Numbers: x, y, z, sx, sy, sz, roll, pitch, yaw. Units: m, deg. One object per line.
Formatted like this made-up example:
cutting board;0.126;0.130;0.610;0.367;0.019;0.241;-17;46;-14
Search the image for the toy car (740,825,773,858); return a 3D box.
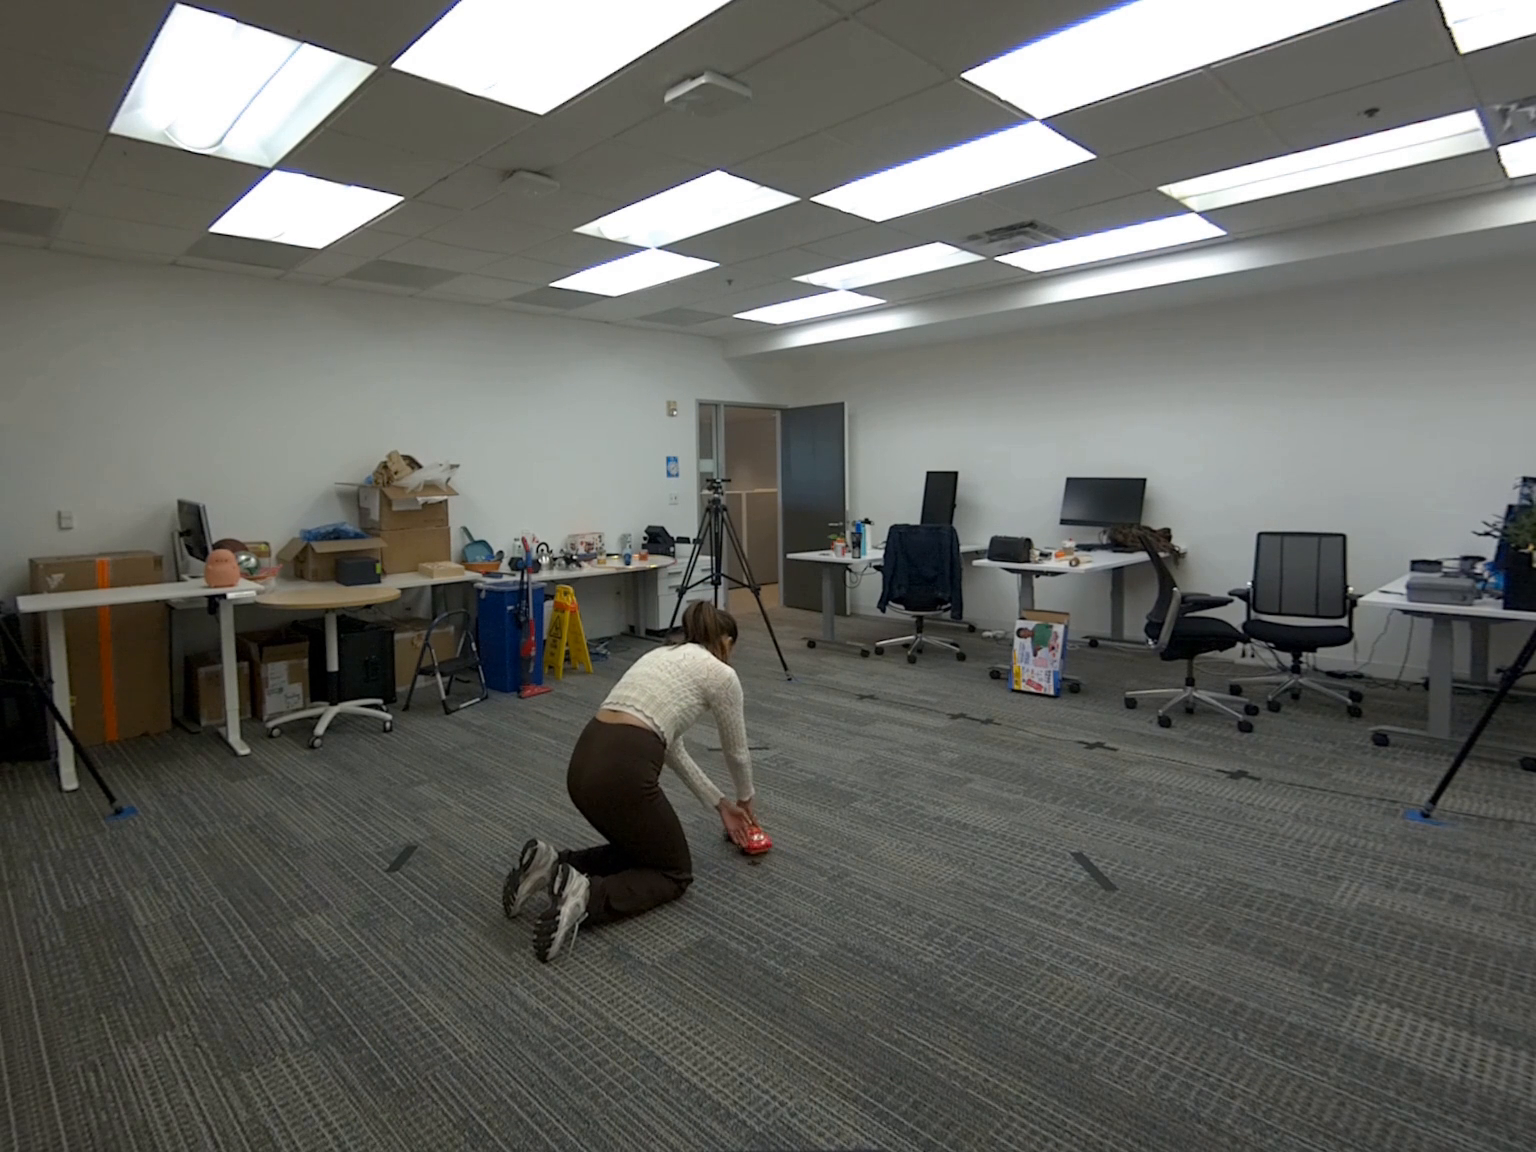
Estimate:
toy car;-0.071;0.999;3.239;0.127;0.084;0.258;-2;-5;-25
